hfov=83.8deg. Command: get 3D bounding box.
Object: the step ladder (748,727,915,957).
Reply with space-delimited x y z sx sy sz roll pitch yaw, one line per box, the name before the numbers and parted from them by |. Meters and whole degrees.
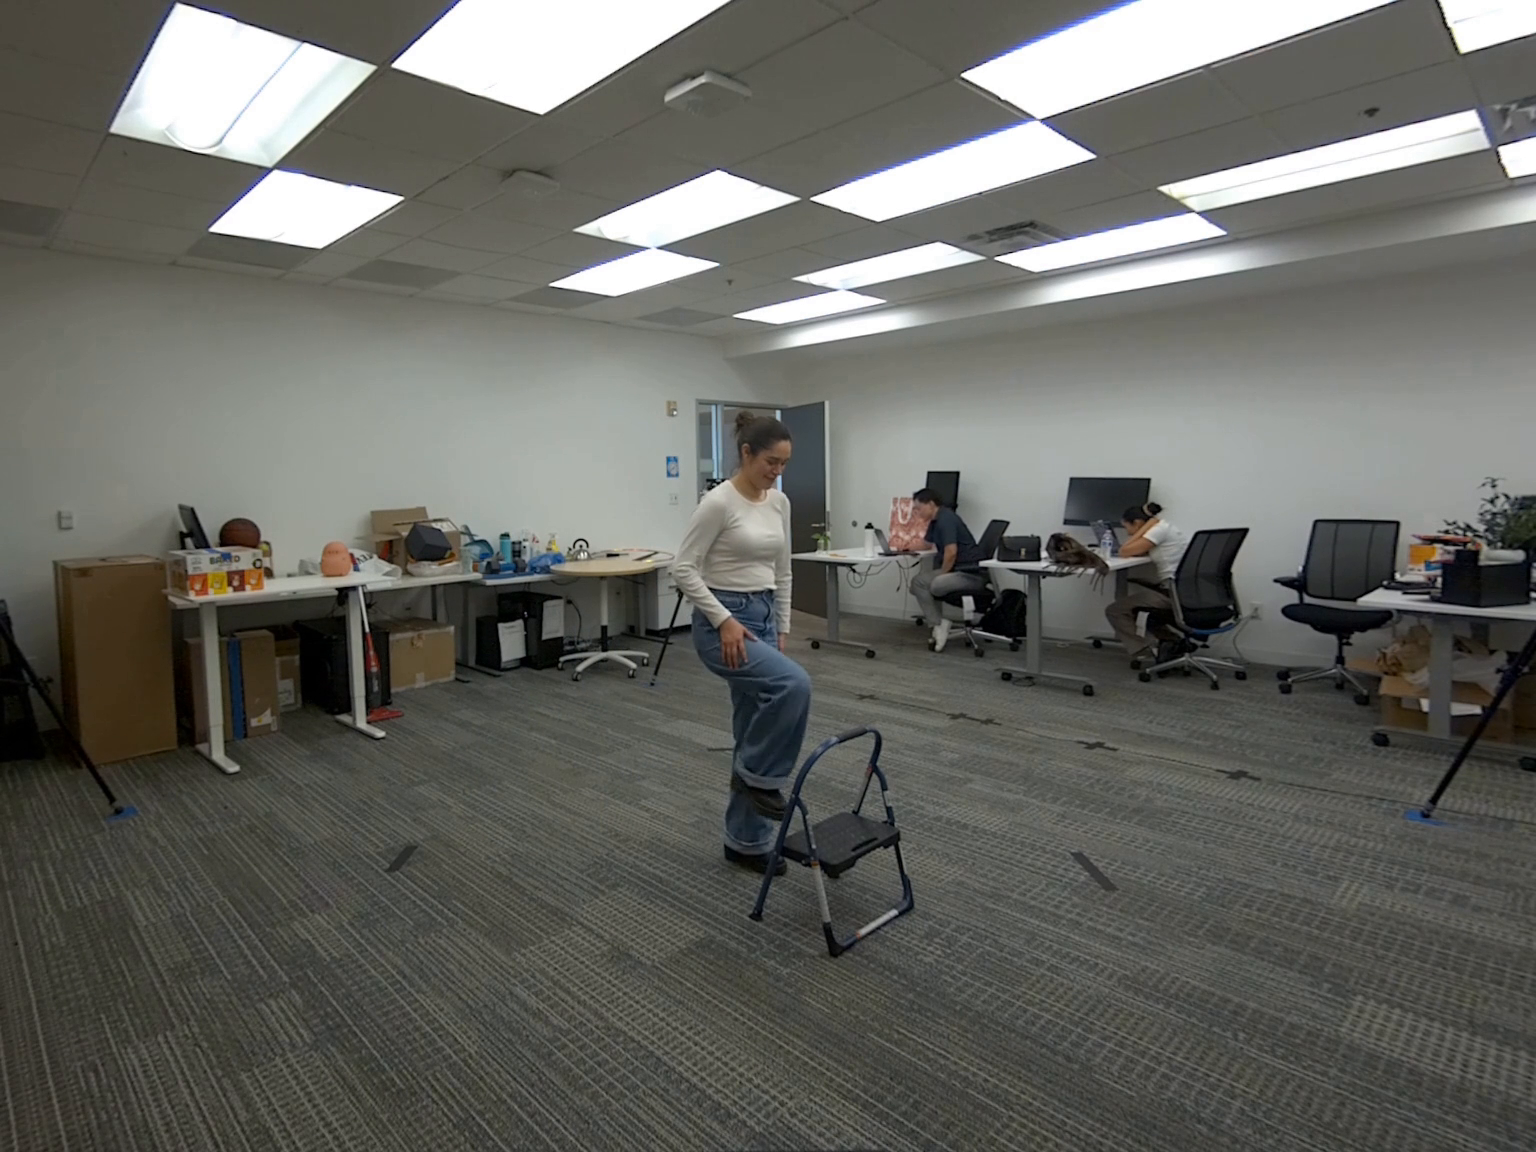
step ladder | 0.204 0.778 2.729 0.360 0.604 0.419 3 6 44
